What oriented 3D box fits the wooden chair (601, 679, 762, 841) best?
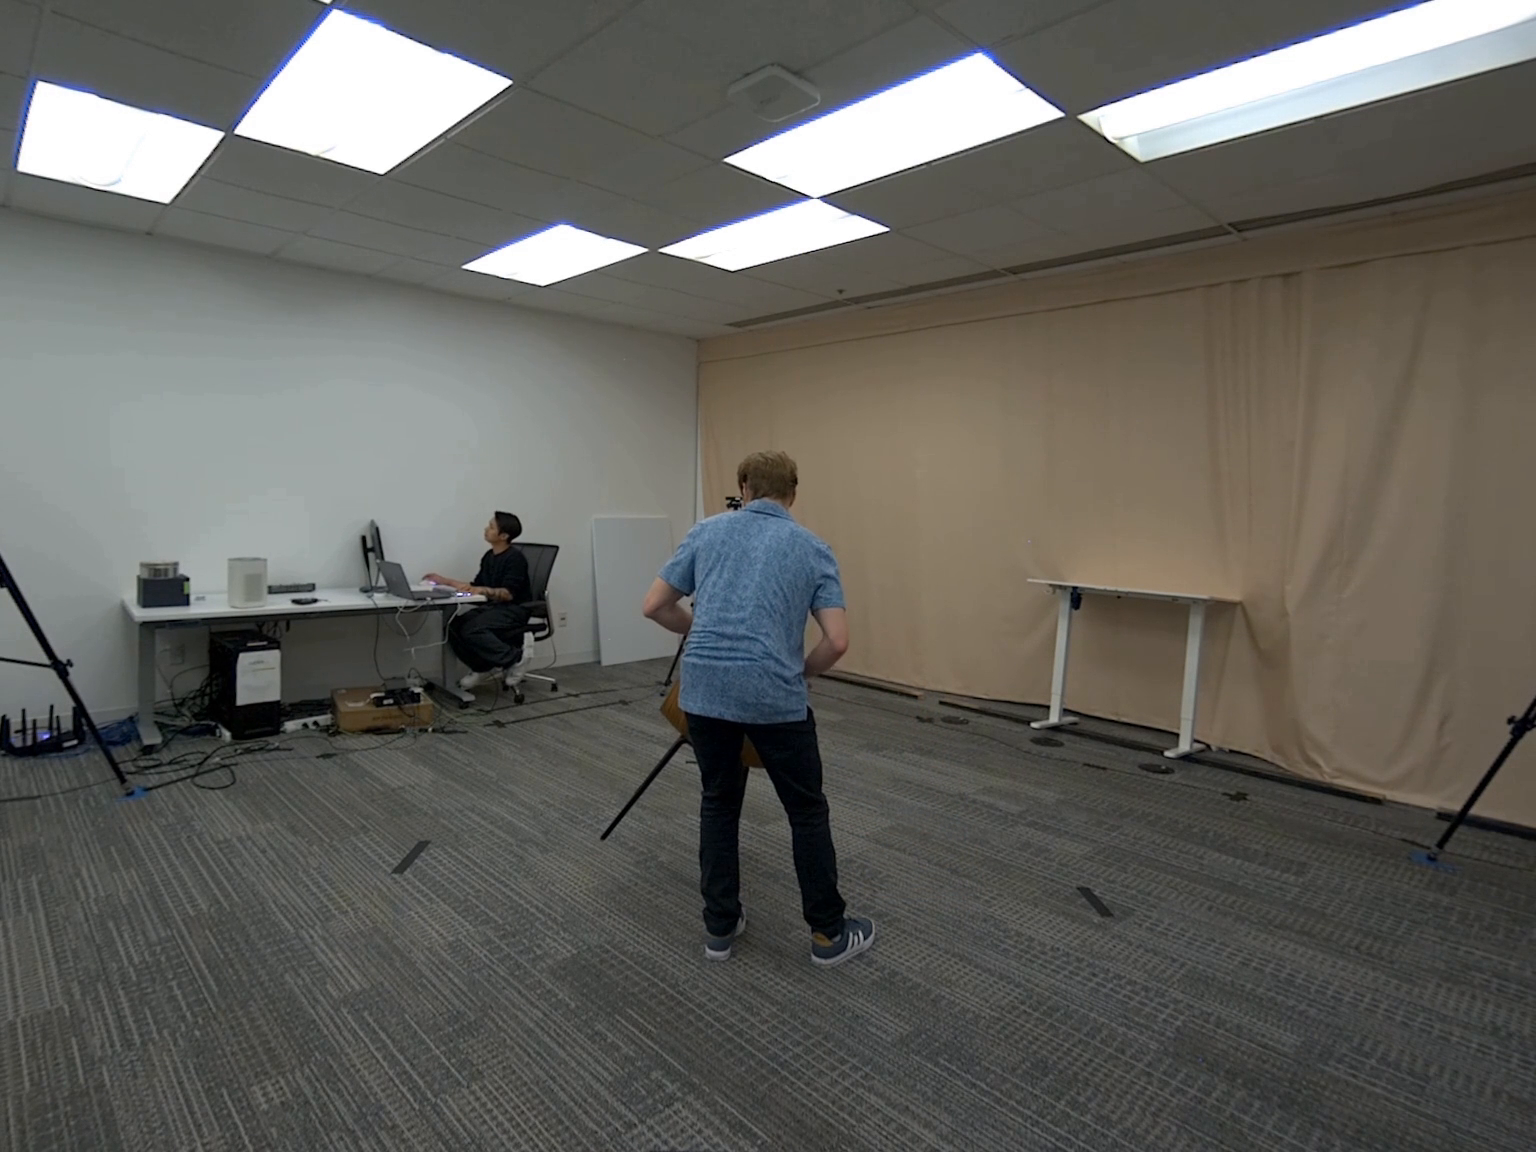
[{"bbox_3d":[-0.197,0.630,3.125,0.481,0.874,0.521,25,10,6],"label":"wooden chair"}]
